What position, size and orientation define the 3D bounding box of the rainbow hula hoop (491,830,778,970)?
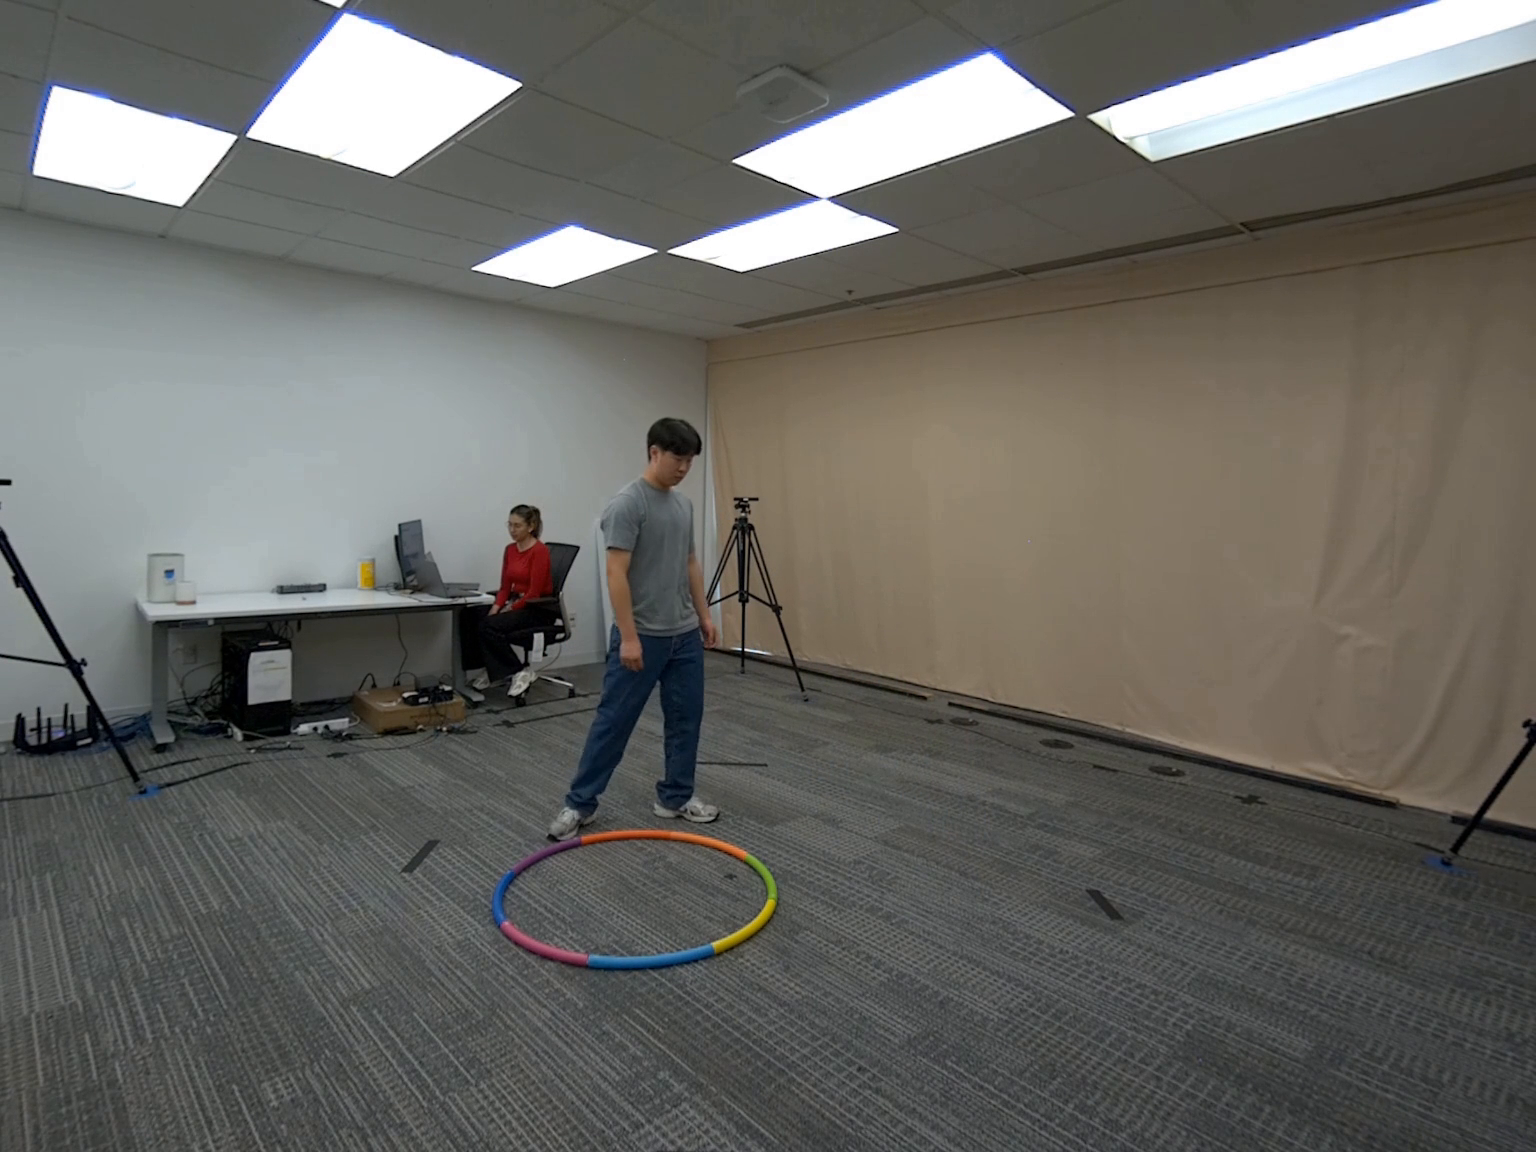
[{"bbox_3d":[-0.464,1.084,2.957,0.978,0.035,0.982,1,5,-1],"label":"rainbow hula hoop"}]
